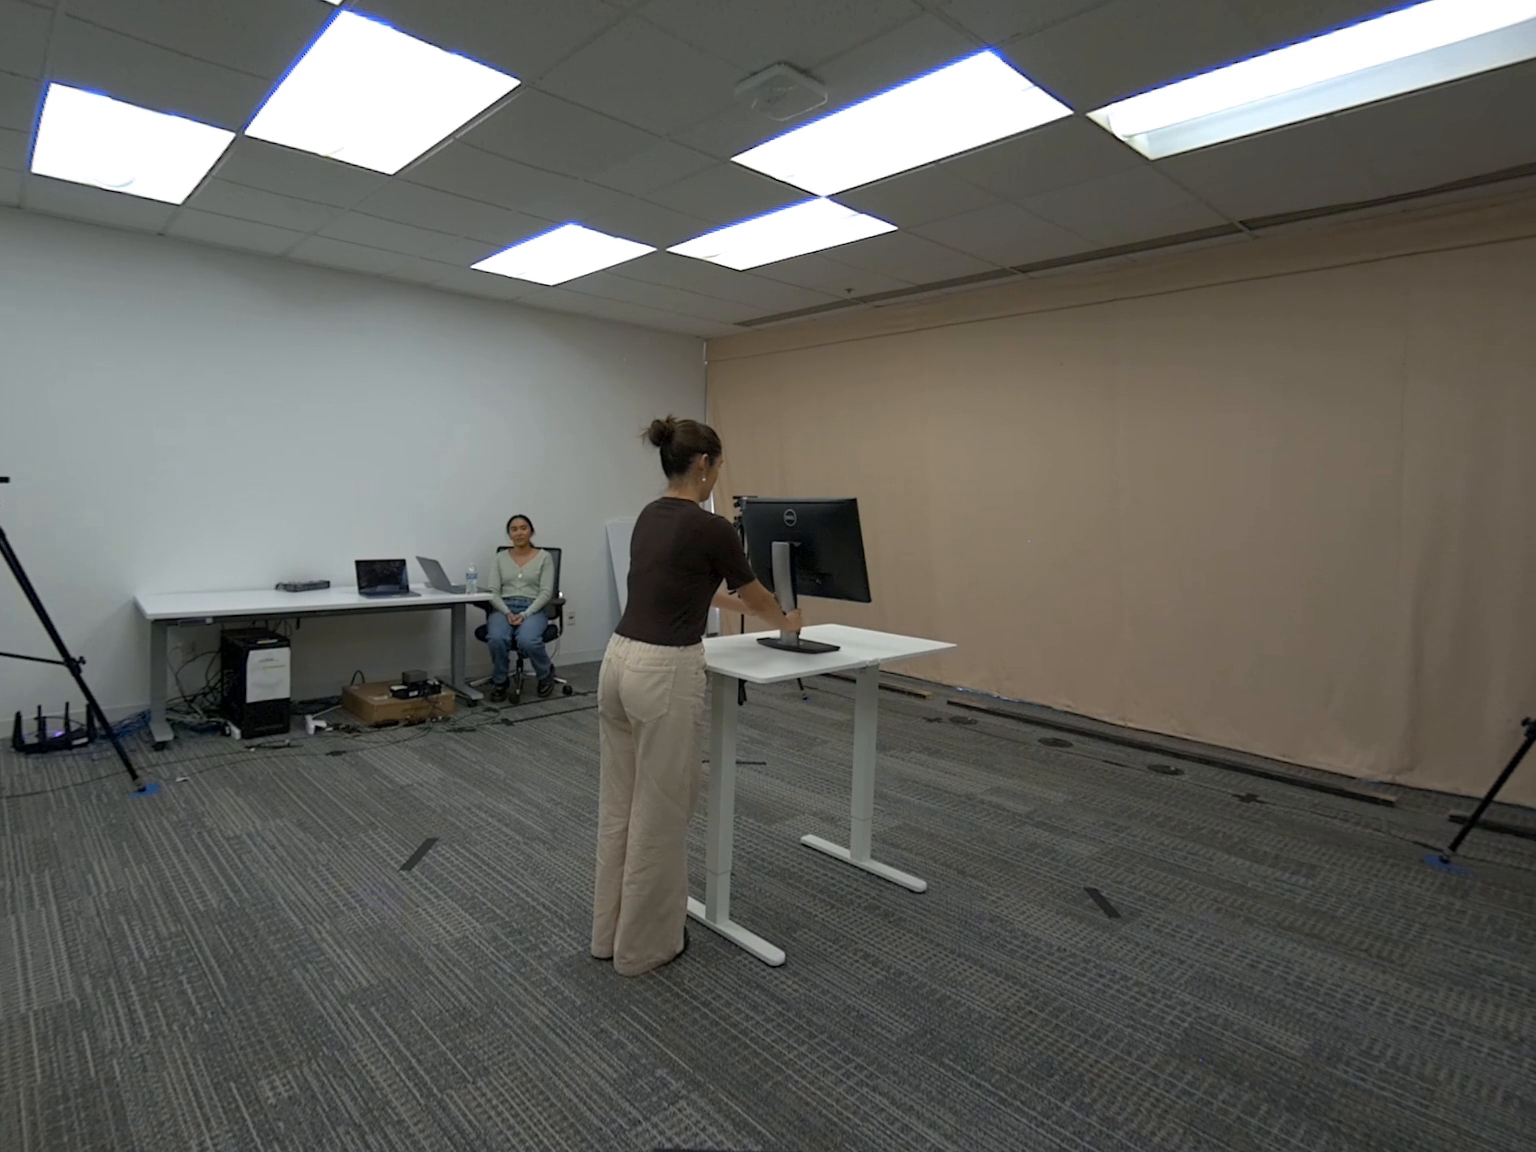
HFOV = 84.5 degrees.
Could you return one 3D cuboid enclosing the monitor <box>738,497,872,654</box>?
[{"bbox_3d":[0.093,-0.009,2.882,0.543,0.516,0.170,4,1,44],"label":"monitor"}]
